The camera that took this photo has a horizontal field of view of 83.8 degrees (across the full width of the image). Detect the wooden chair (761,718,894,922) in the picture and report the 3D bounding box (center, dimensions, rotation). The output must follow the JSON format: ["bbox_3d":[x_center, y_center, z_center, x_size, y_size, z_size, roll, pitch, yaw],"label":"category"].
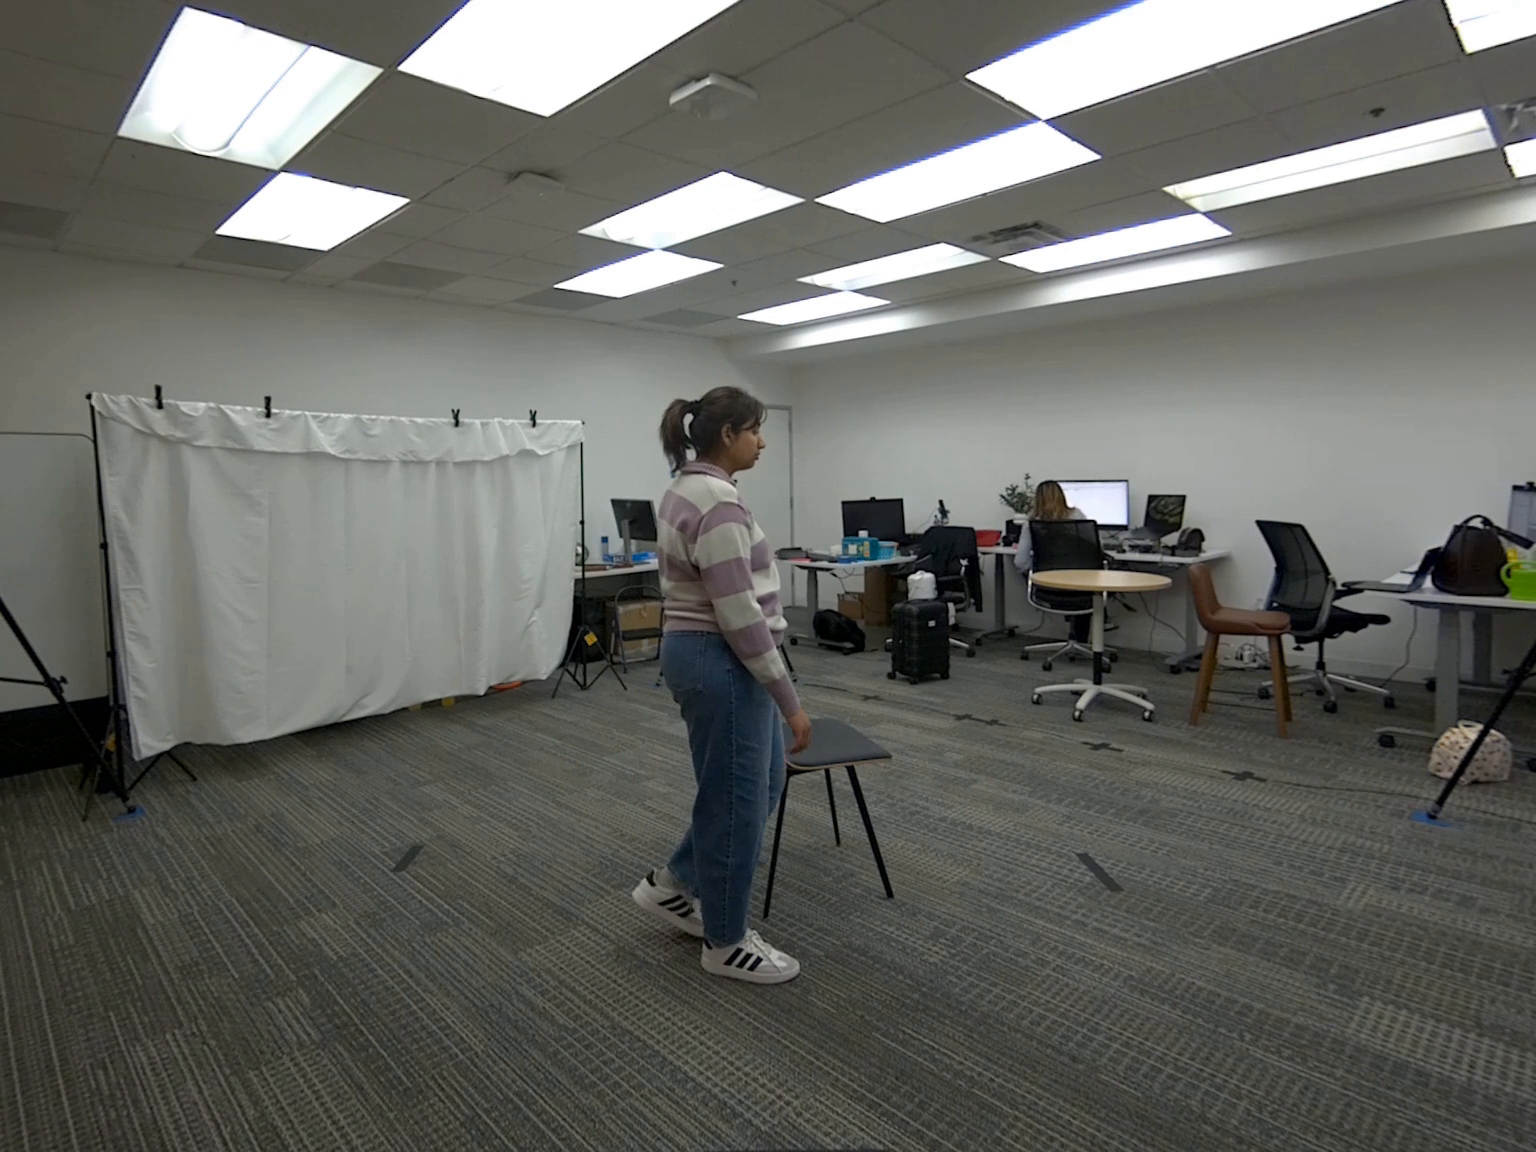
[{"bbox_3d":[0.135,0.632,2.964,0.516,0.873,0.487,-7,5,-17],"label":"wooden chair"}]
